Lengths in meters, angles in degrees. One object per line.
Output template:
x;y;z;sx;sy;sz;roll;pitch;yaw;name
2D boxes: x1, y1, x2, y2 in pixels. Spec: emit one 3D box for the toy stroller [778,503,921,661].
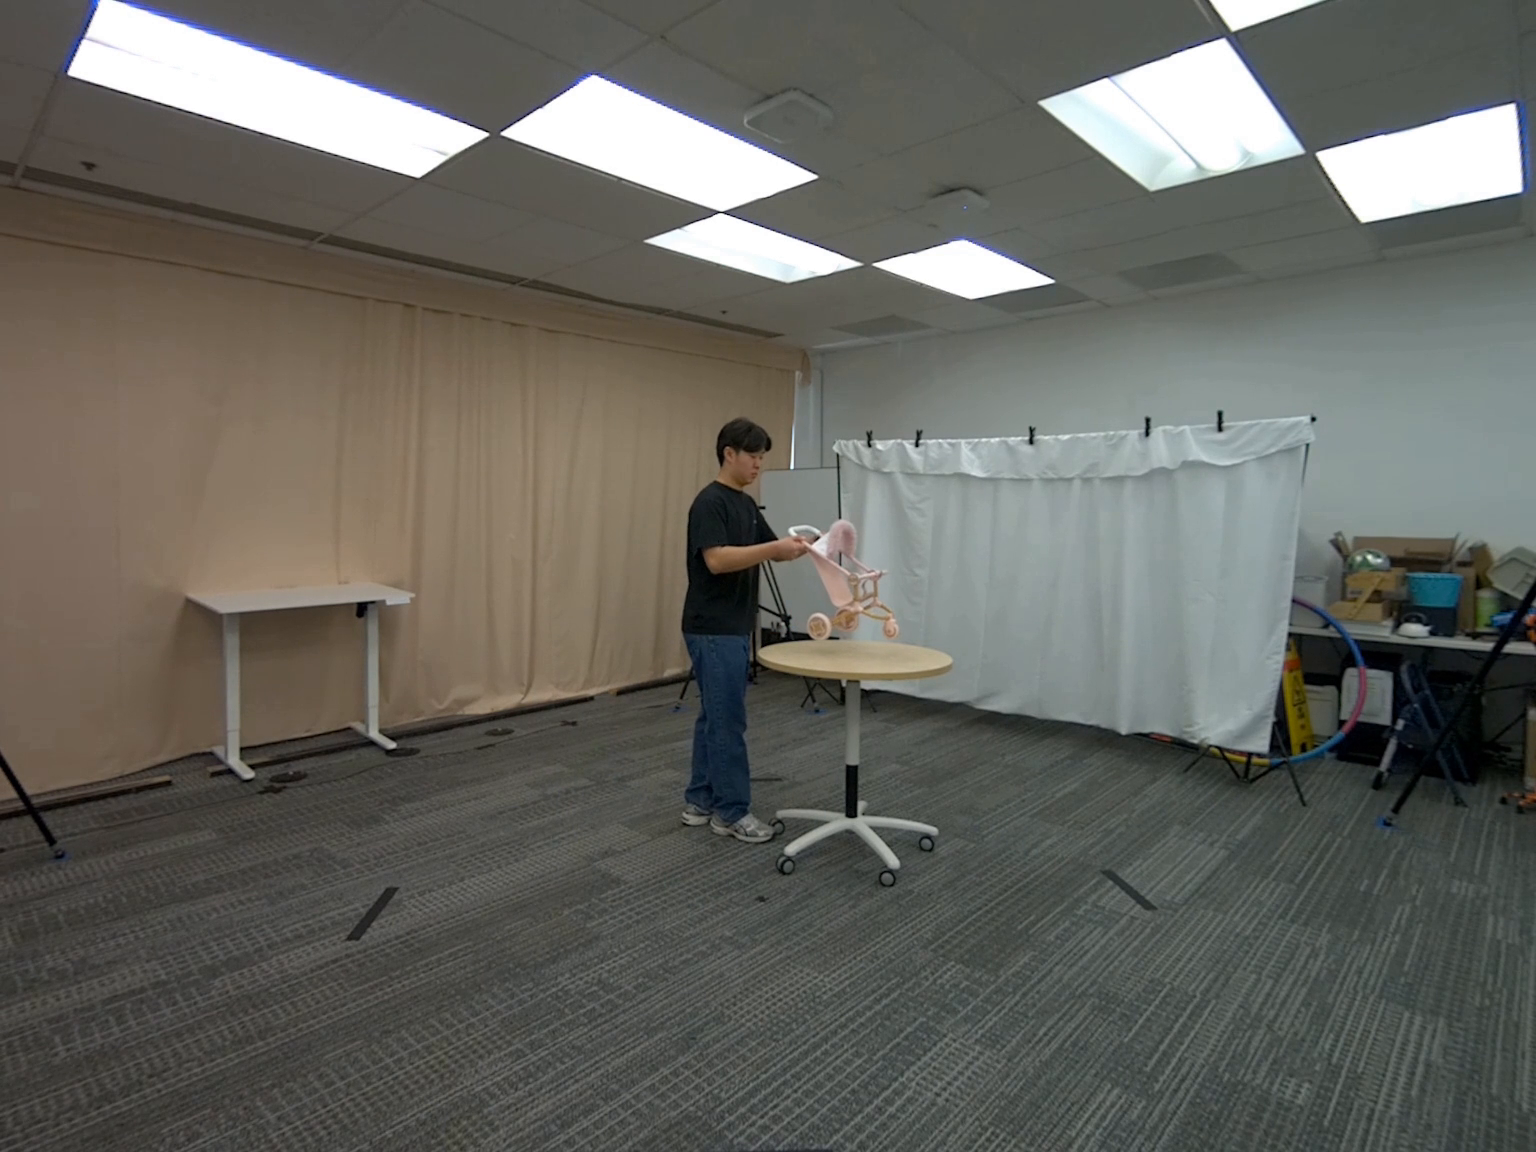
0.319;0.019;3.361;0.349;0.538;0.273;-18;-7;37;toy stroller
